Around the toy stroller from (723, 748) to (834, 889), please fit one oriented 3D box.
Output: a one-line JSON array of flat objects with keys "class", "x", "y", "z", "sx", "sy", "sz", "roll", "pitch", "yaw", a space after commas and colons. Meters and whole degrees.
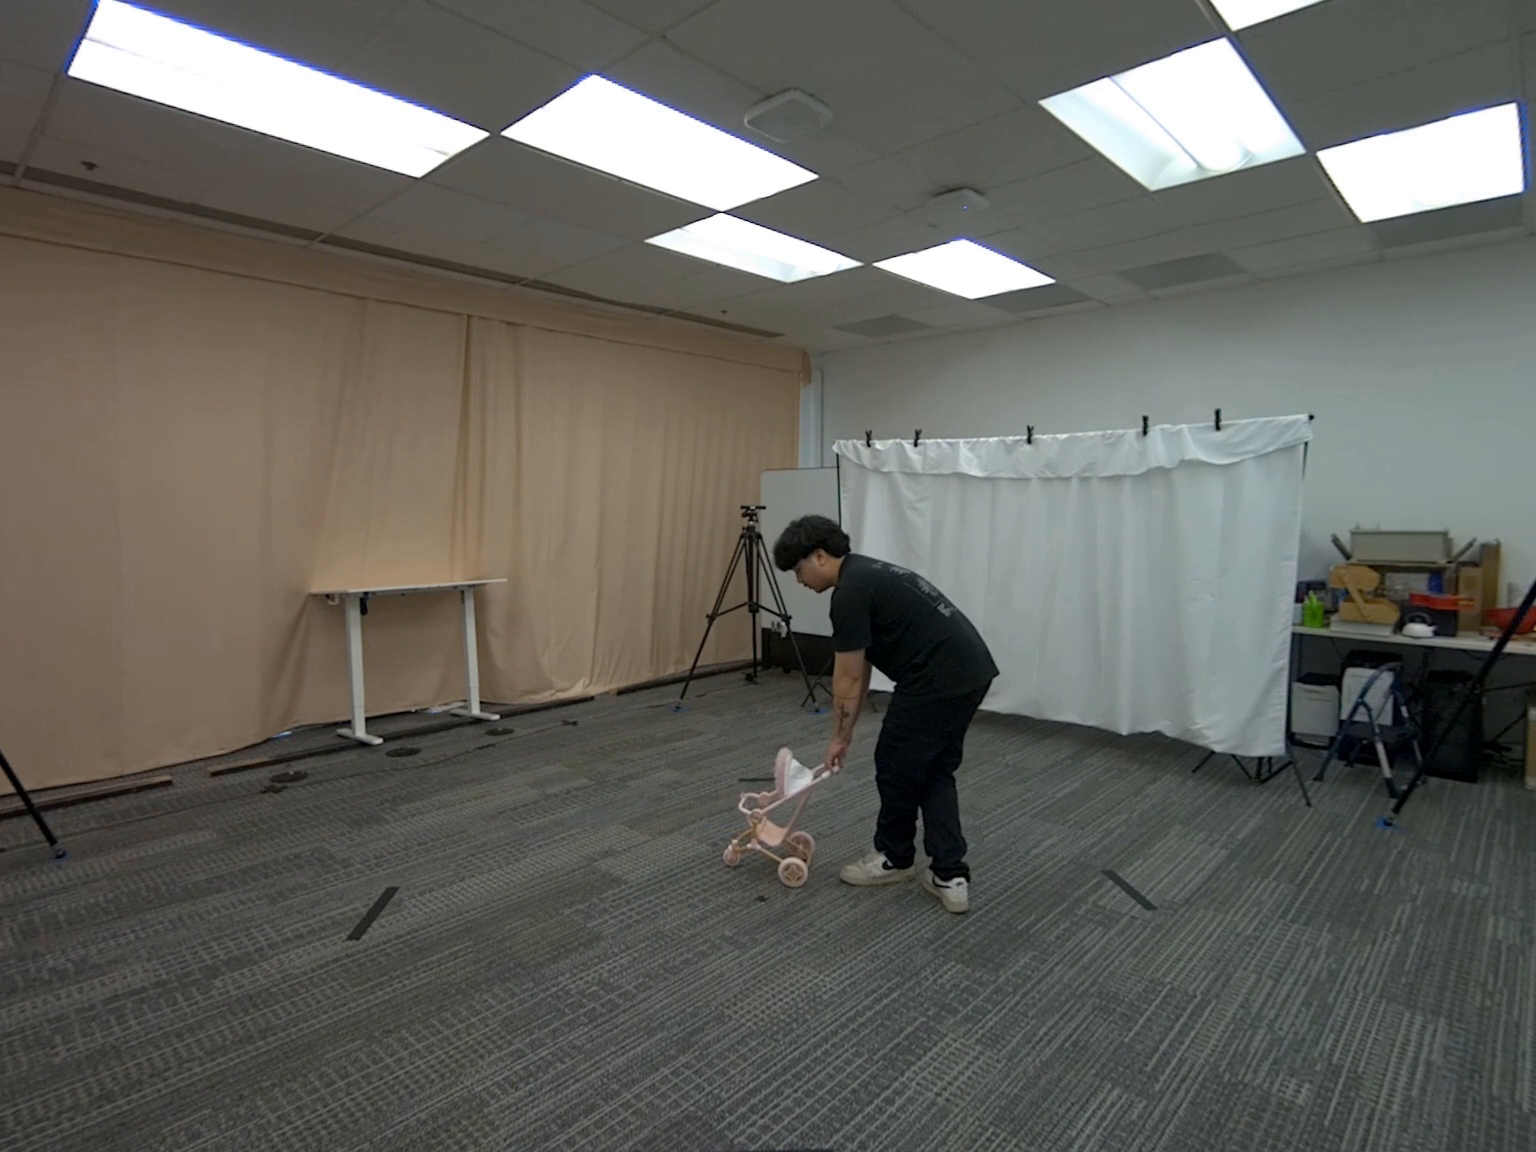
[{"class": "toy stroller", "x": 0.051, "y": 0.904, "z": 3.204, "sx": 0.348, "sy": 0.533, "sz": 0.277, "roll": 16, "pitch": 7, "yaw": 16}]
